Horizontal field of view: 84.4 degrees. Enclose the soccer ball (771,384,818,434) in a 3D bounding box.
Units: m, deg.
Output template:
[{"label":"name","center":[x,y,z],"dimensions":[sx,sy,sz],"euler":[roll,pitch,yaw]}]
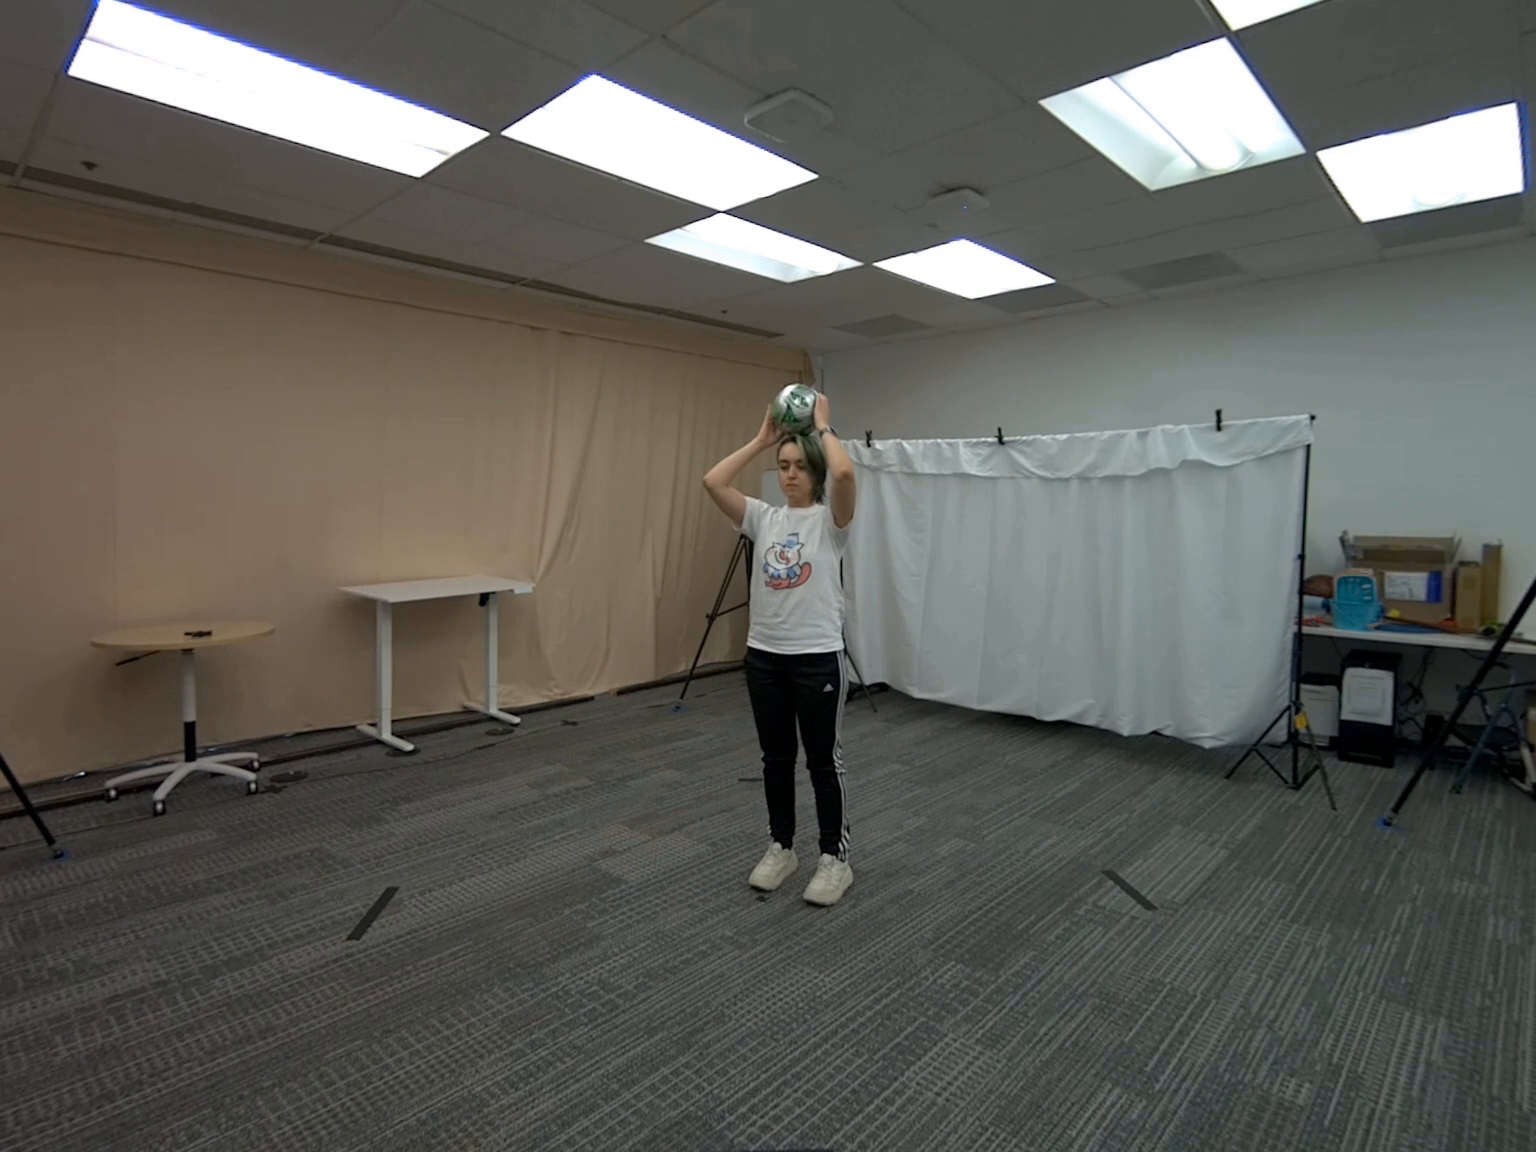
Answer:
[{"label":"soccer ball","center":[0.111,-0.593,3.028],"dimensions":[0.187,0.187,0.188],"euler":[0,4,-2]}]
